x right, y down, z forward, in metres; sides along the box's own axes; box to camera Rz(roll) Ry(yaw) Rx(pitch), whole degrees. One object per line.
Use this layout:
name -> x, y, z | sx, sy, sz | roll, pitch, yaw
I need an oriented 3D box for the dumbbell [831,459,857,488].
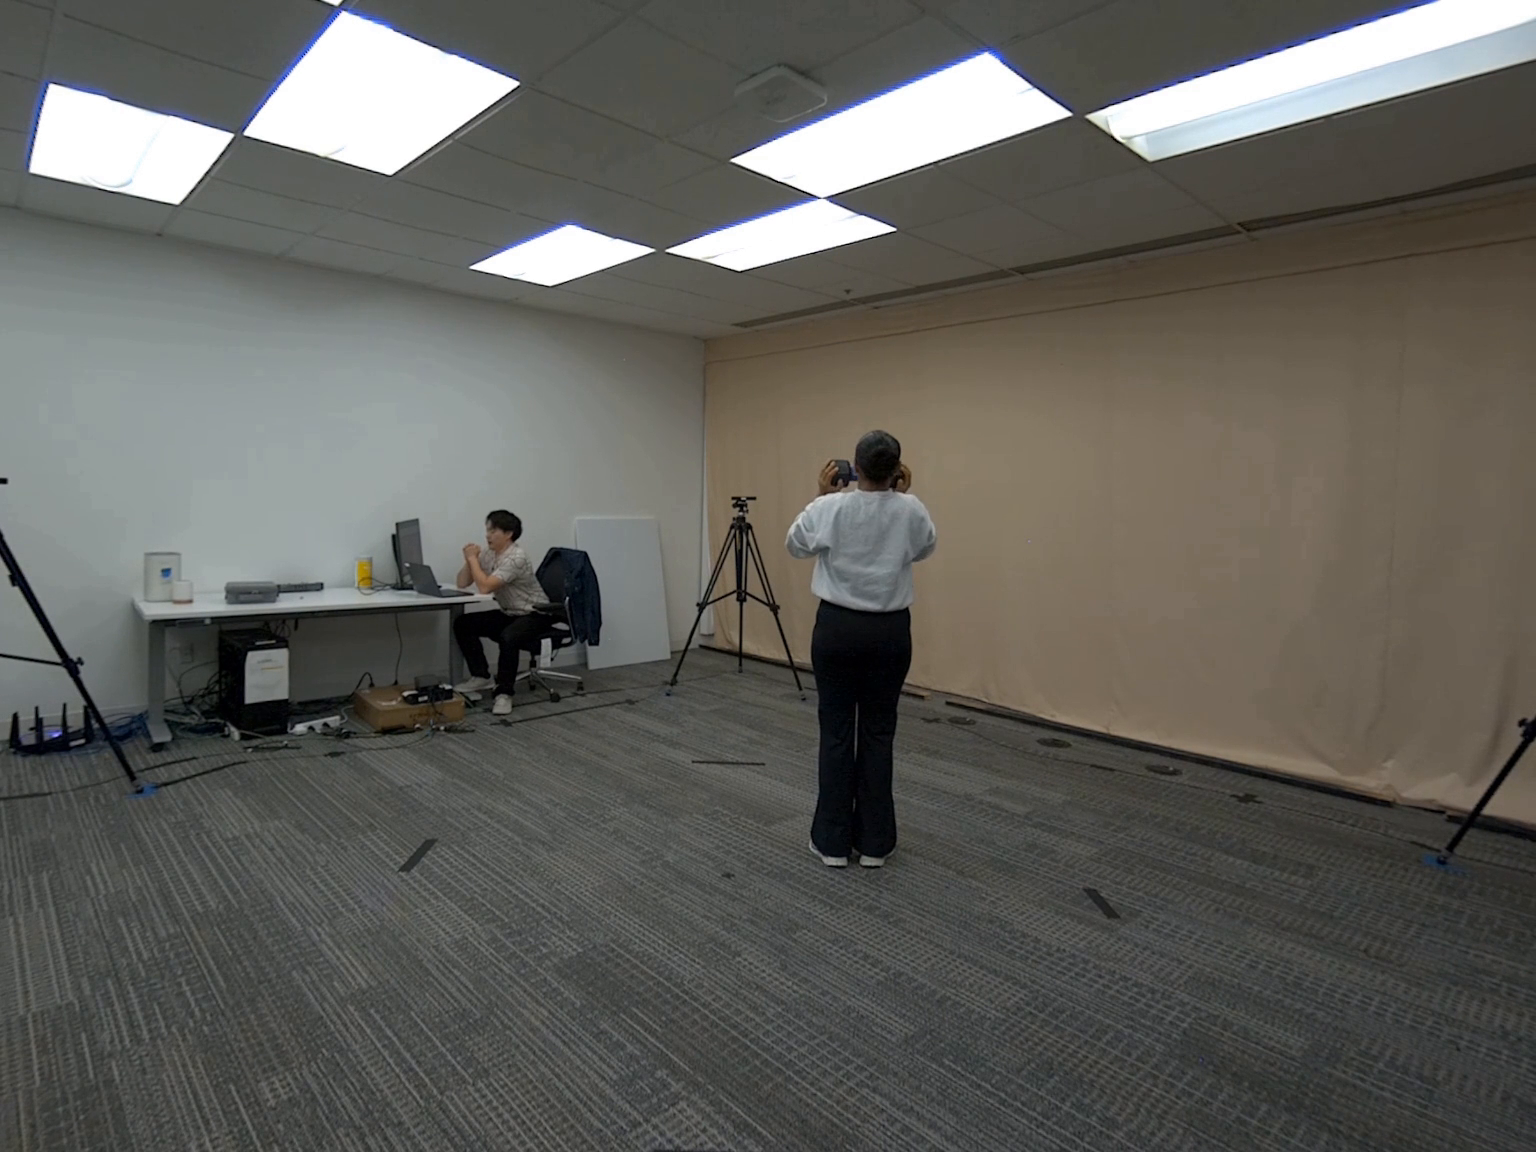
dumbbell -> 0.375, -0.401, 3.287 | 0.292, 0.126, 0.107 | 0, -35, -6
